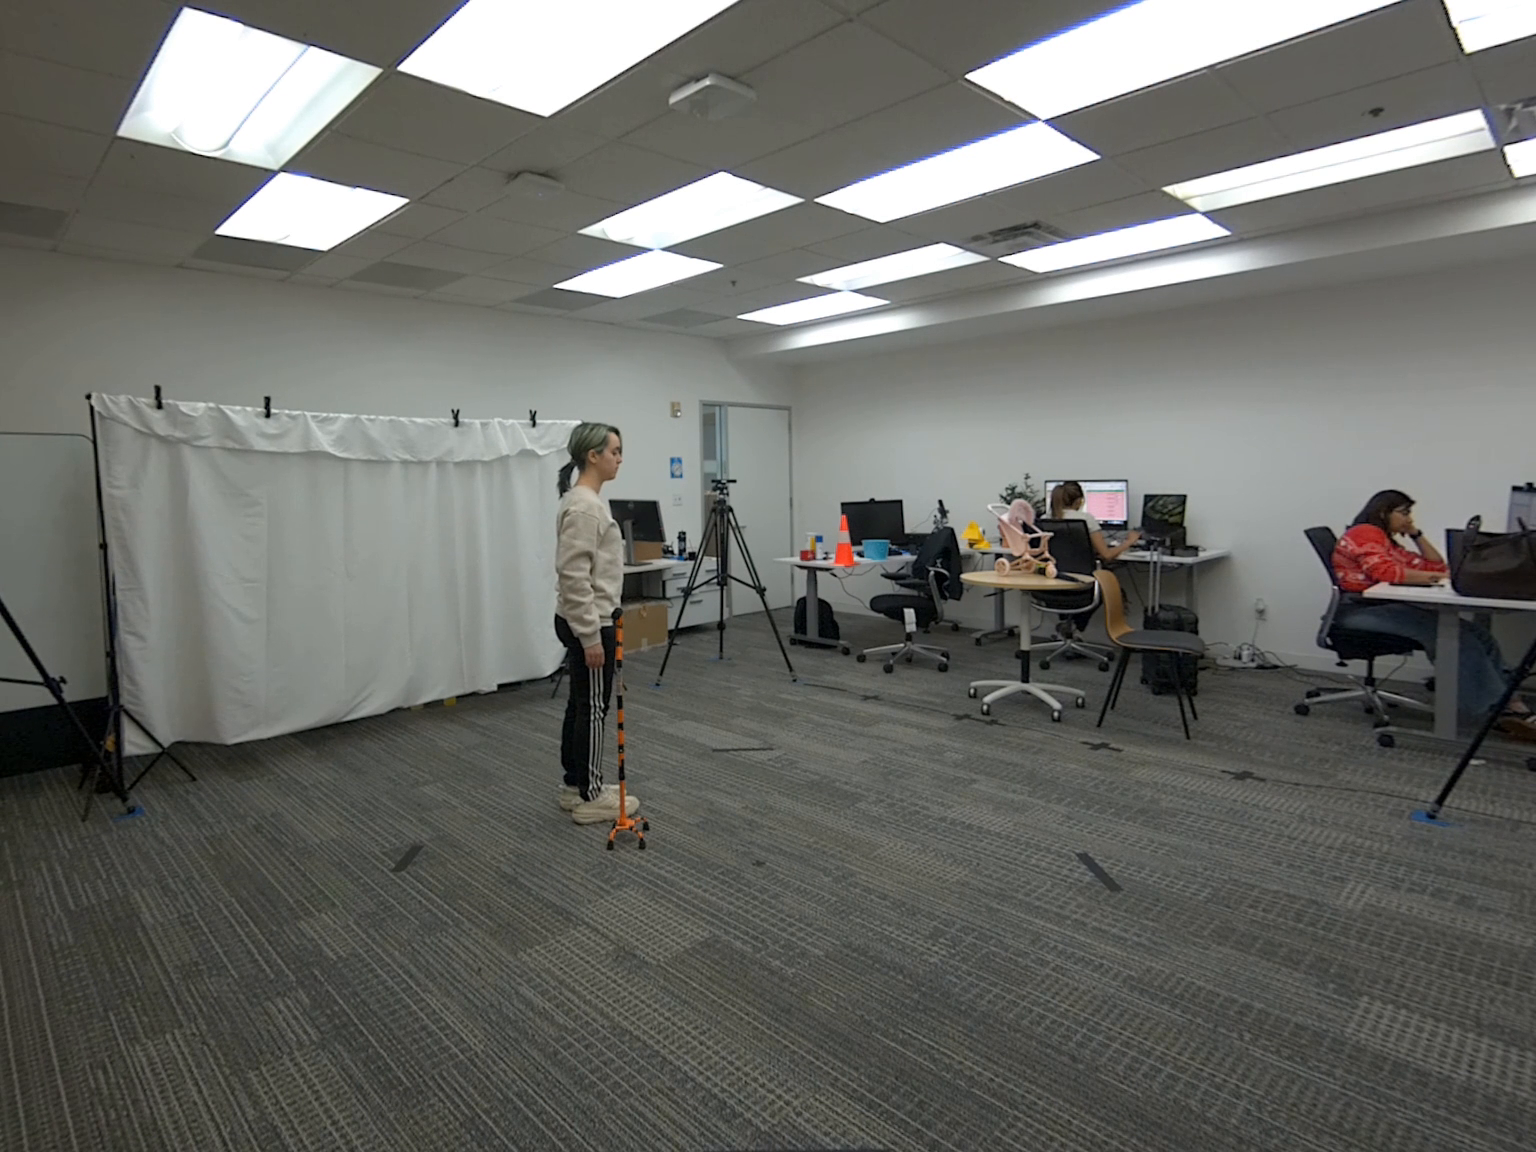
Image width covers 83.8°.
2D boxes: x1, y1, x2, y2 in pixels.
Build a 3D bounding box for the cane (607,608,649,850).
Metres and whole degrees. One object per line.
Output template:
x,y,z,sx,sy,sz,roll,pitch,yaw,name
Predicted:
-0.555,0.583,3.320,0.151,0.905,0.207,-2,3,-3,cane
